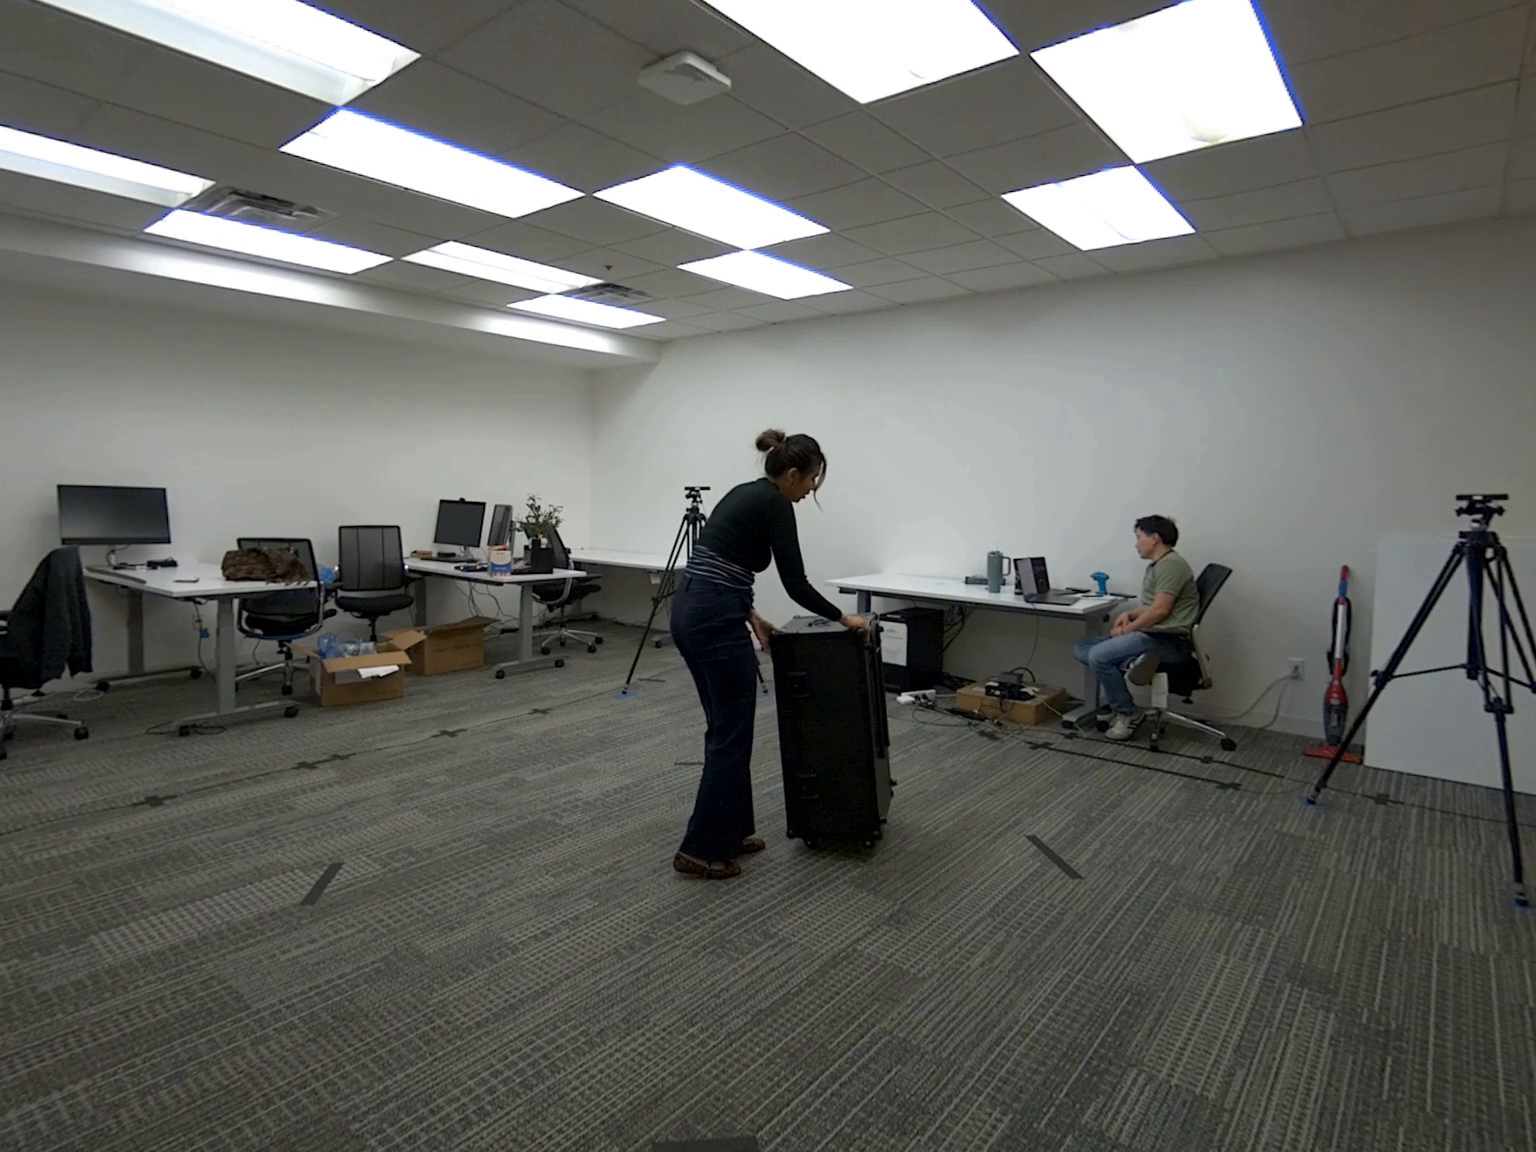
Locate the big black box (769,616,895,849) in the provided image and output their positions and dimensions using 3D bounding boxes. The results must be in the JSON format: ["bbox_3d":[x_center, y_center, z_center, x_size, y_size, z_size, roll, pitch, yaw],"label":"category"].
[{"bbox_3d":[0.277,0.607,3.419,0.402,0.860,0.515,-4,2,13],"label":"big black box"}]
